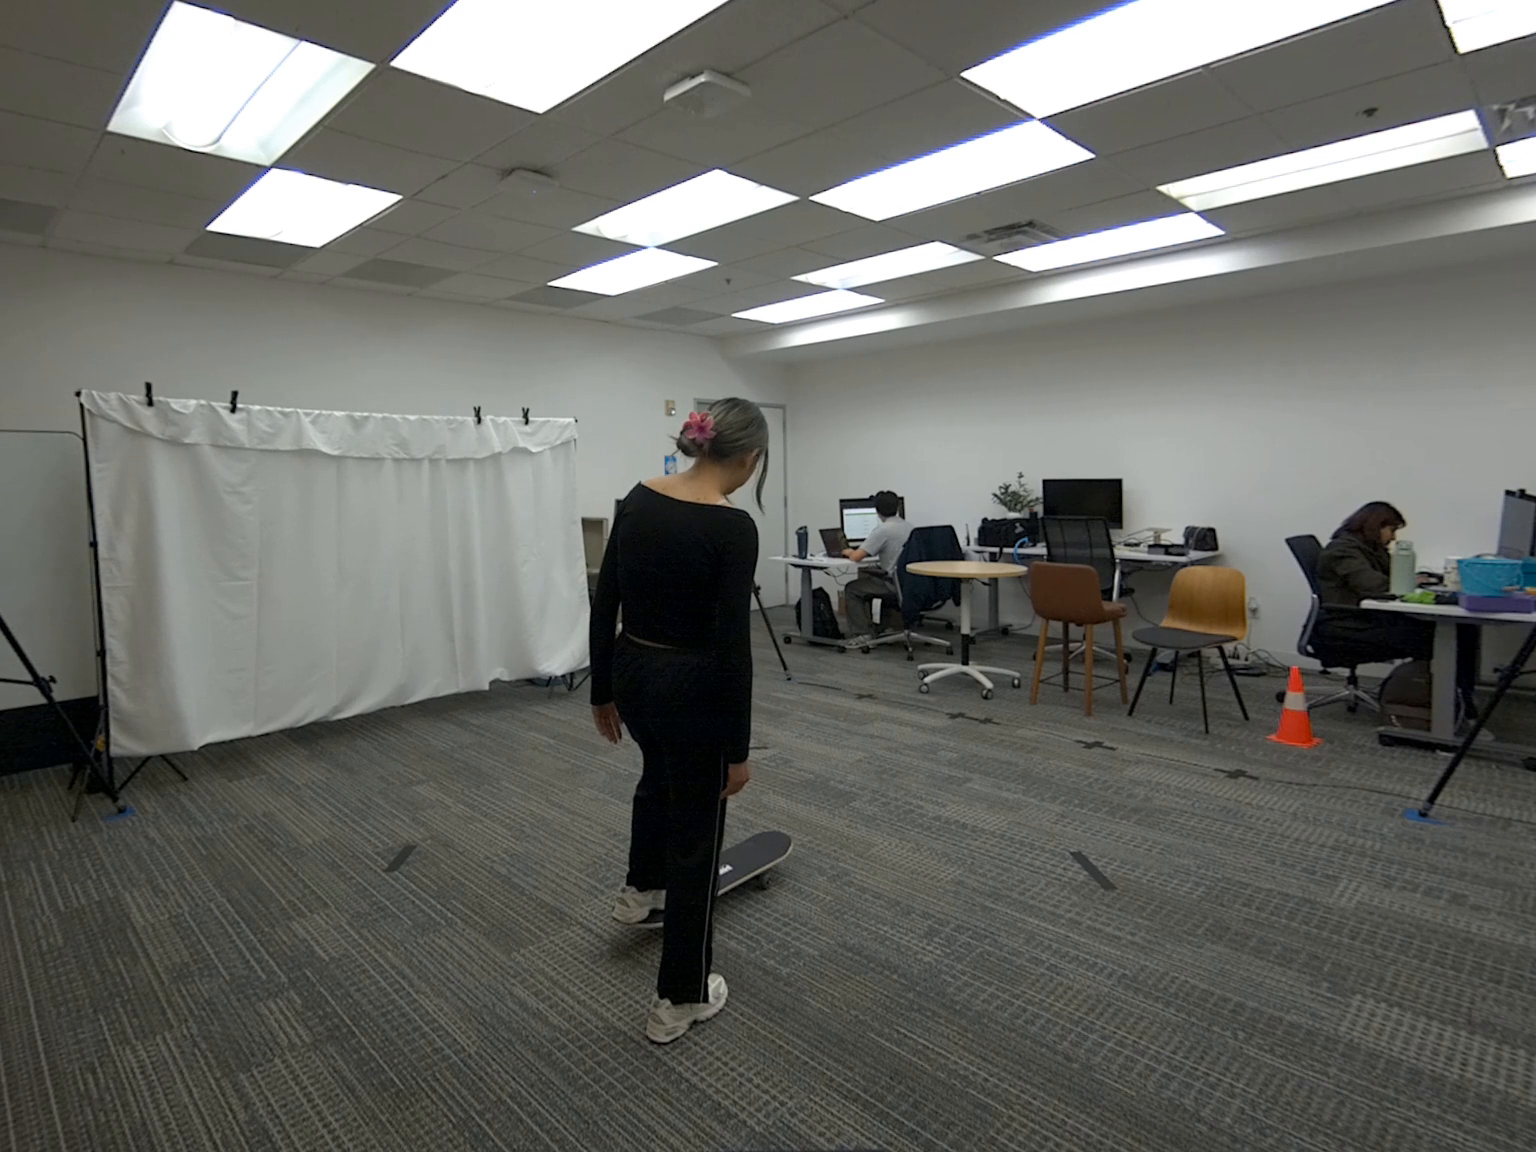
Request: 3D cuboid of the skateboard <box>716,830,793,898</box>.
[{"bbox_3d":[-0.191,1.024,2.812,0.199,0.110,0.766,3,9,40],"label":"skateboard"}]
